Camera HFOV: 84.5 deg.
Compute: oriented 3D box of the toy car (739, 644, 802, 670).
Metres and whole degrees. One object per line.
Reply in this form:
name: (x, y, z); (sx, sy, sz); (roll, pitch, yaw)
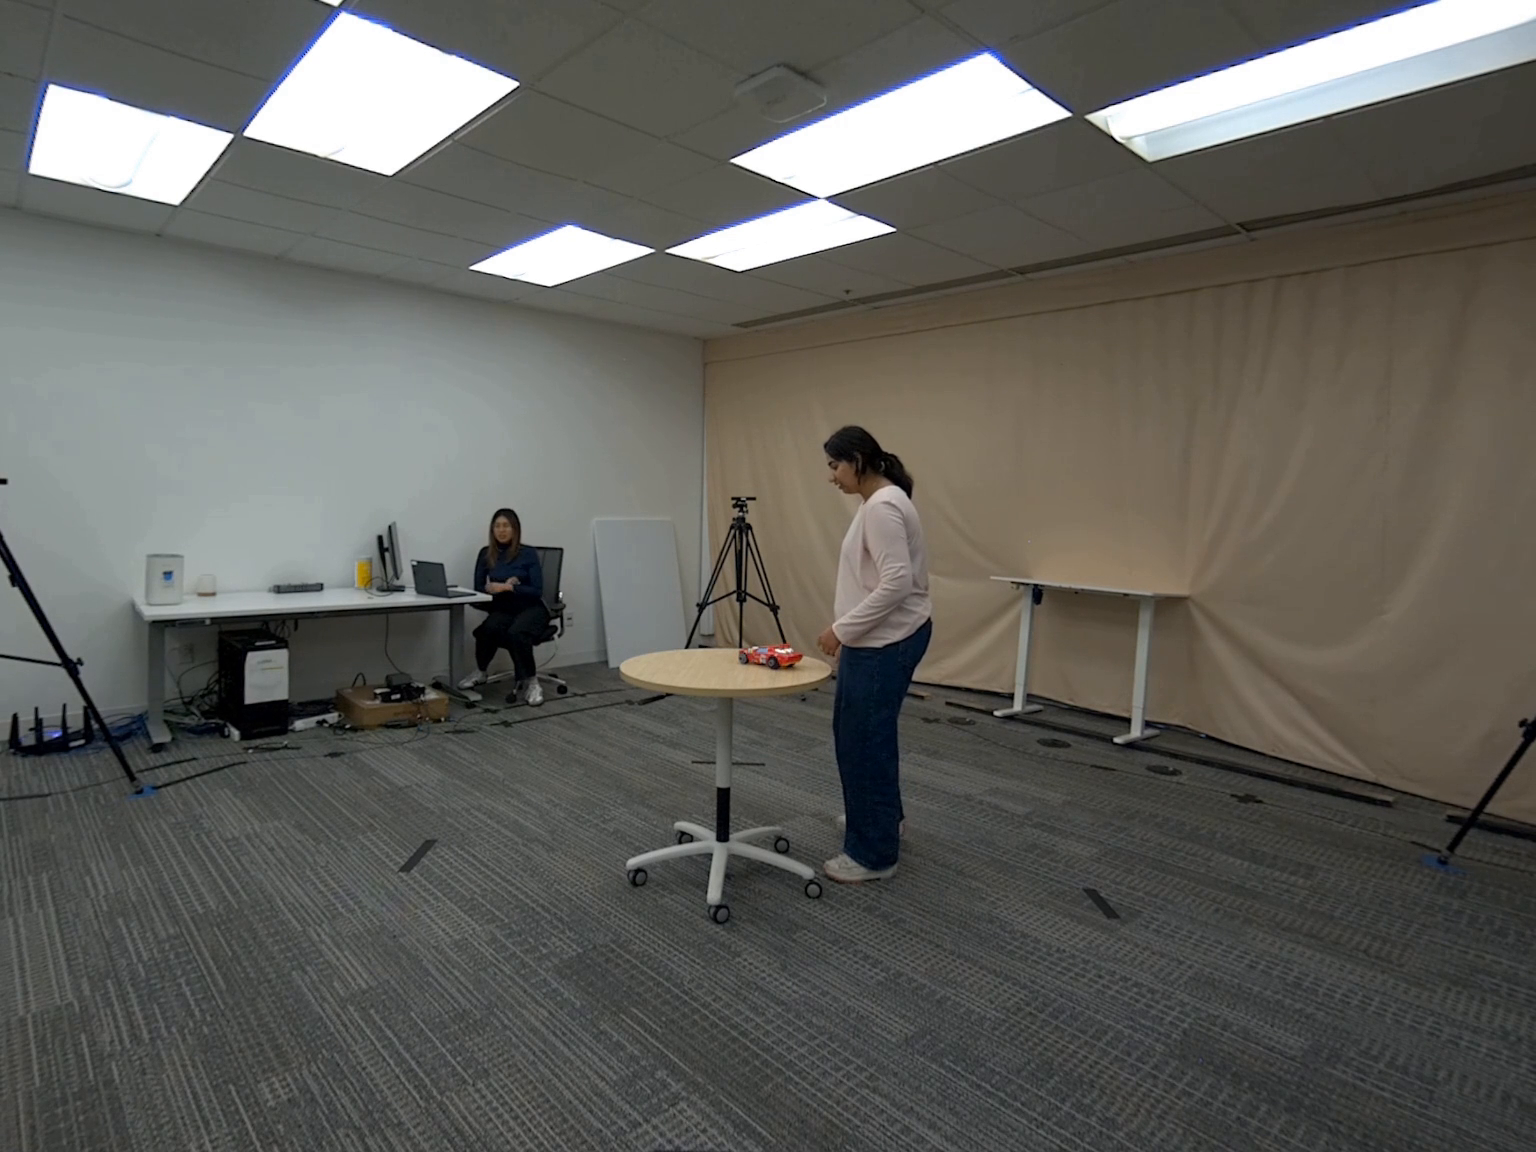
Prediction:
toy car: (0.006, 0.295, 3.069); (0.259, 0.083, 0.127); (-9, -4, 42)
